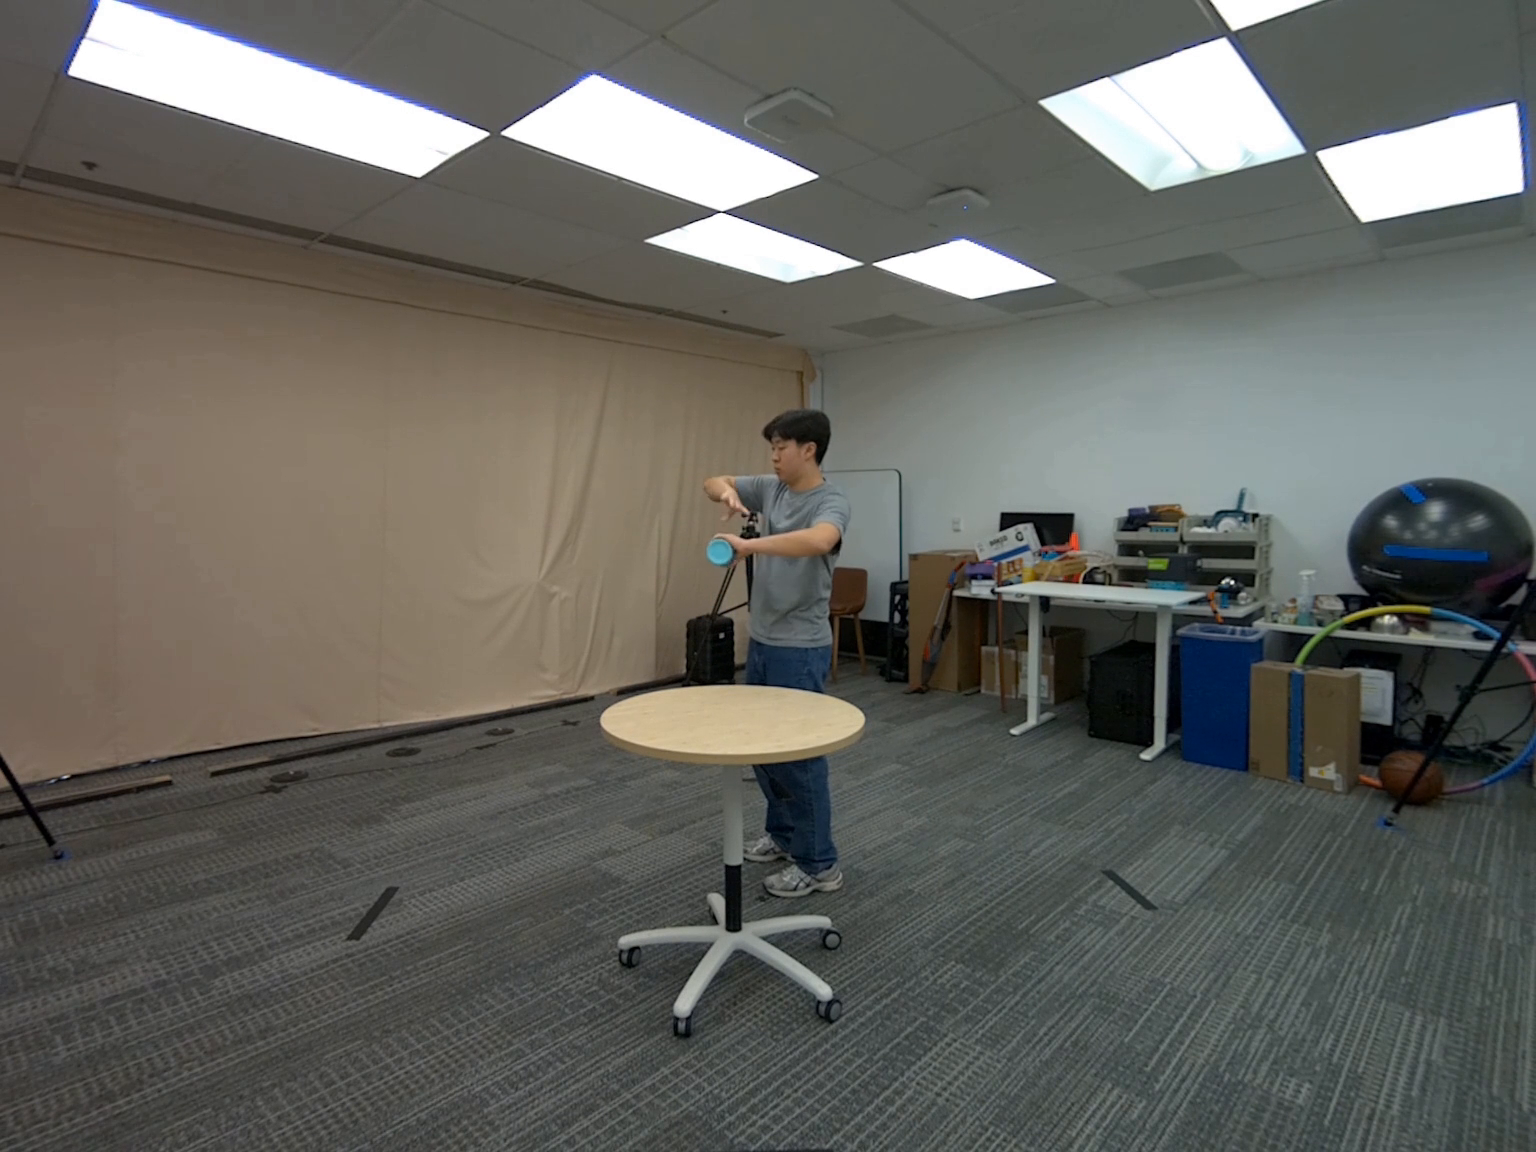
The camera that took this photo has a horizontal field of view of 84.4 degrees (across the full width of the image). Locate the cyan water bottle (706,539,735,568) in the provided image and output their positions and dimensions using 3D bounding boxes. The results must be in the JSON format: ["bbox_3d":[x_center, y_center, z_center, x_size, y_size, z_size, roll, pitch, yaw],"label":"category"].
[{"bbox_3d":[-0.146,-0.081,2.986,0.093,0.092,0.281,0,-2,4],"label":"cyan water bottle"}]
